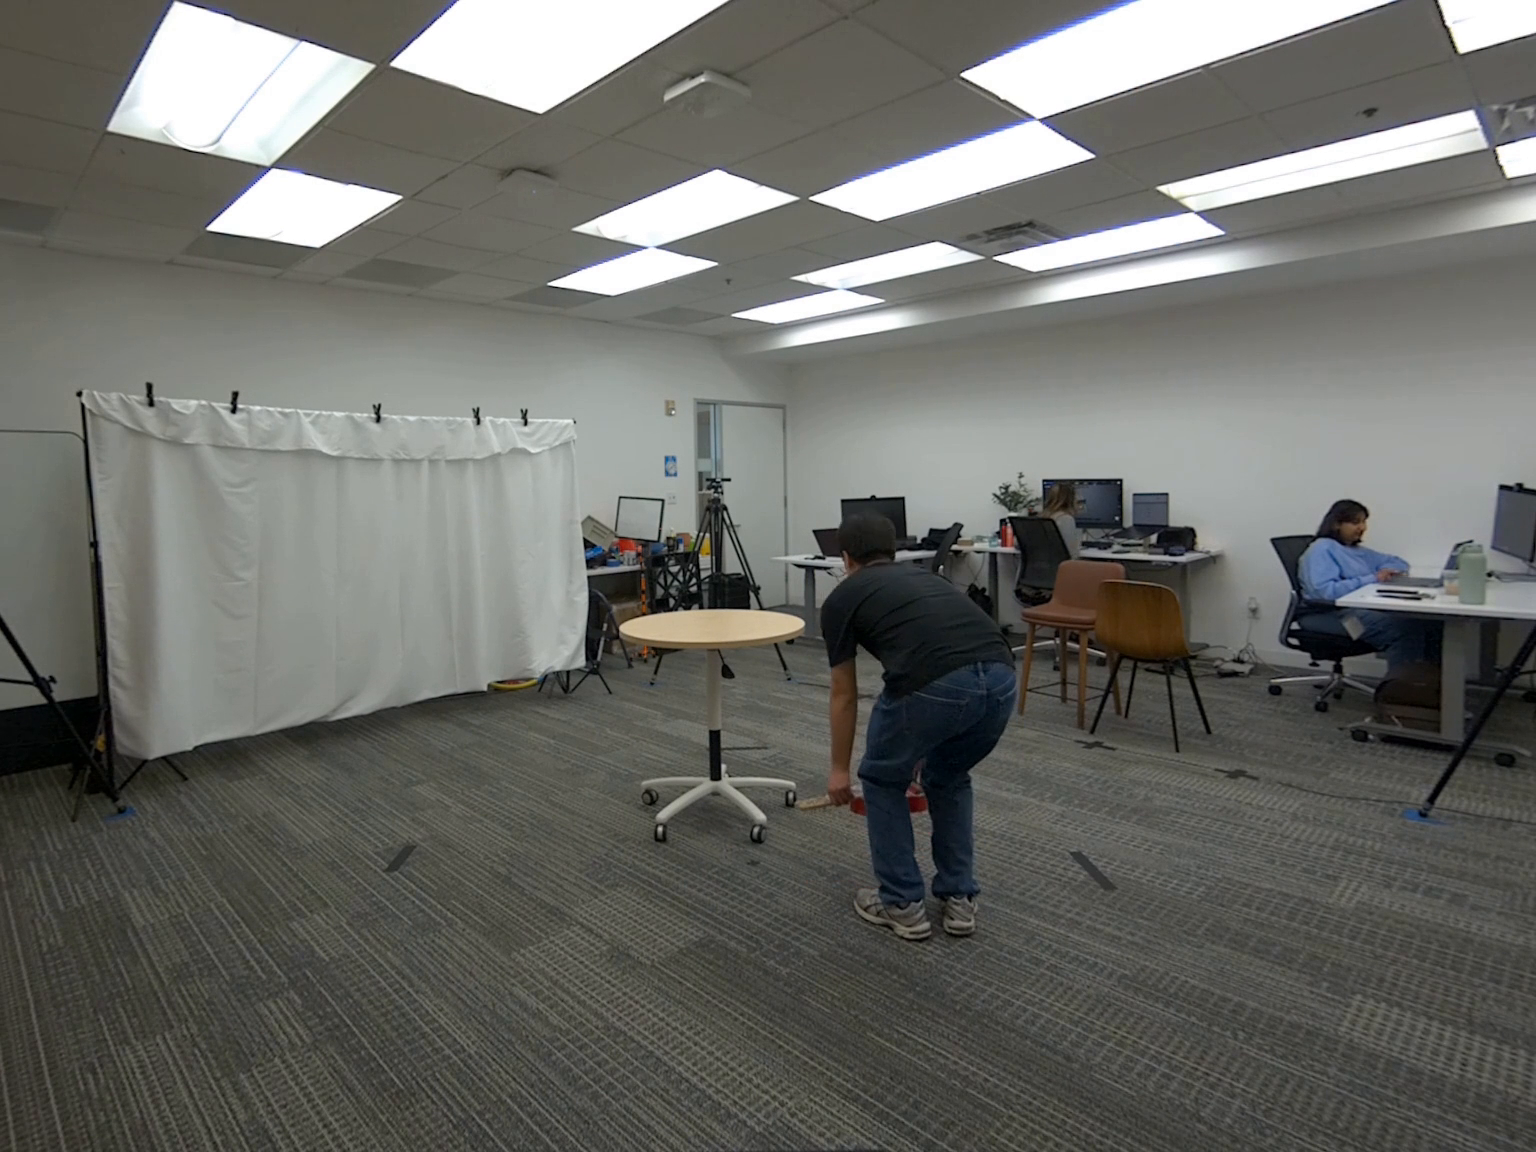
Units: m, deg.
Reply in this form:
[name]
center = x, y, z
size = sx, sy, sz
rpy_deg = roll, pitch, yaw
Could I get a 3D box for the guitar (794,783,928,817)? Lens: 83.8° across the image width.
[guitar]
center = 0.312, 0.768, 2.940
size = 0.491, 0.070, 0.197
rpy_deg = -2, 8, -15
